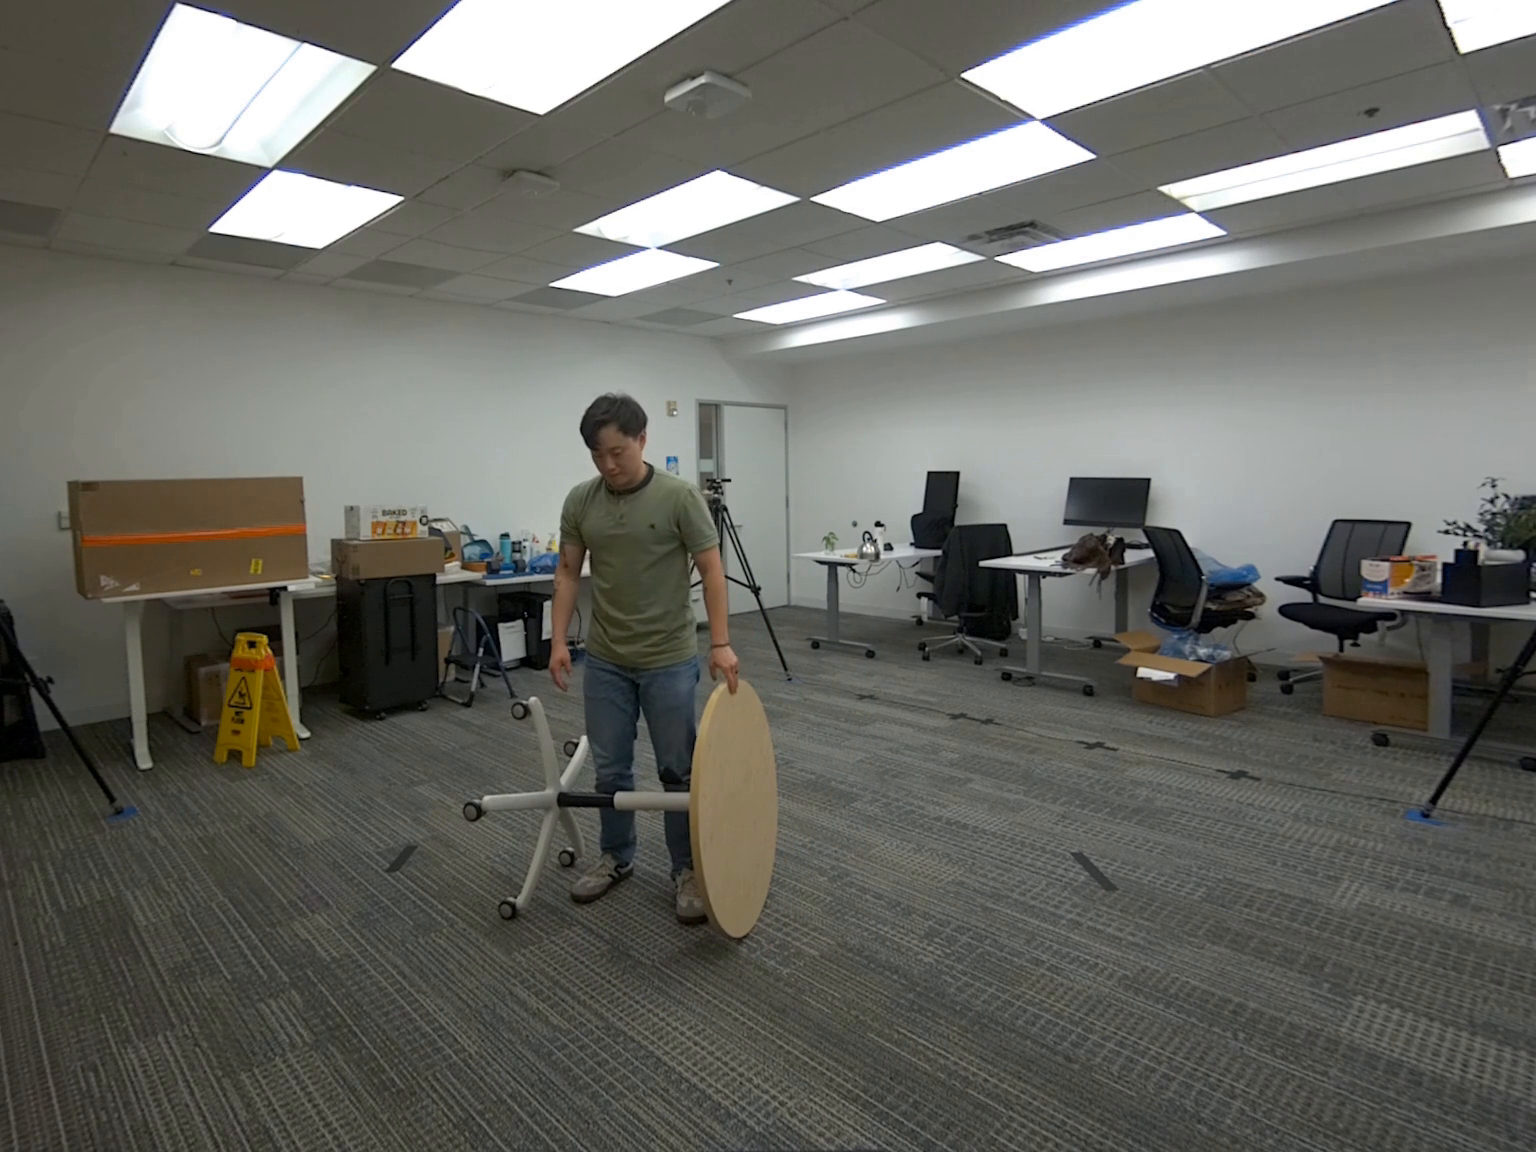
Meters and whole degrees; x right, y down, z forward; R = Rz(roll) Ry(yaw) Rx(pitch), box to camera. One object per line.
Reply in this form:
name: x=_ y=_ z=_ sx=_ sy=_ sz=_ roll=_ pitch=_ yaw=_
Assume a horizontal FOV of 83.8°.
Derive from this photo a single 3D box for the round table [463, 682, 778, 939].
round table: x=-0.459 y=0.744 z=2.798 sx=0.806 sy=0.762 sz=0.754 roll=-6 pitch=3 yaw=17
